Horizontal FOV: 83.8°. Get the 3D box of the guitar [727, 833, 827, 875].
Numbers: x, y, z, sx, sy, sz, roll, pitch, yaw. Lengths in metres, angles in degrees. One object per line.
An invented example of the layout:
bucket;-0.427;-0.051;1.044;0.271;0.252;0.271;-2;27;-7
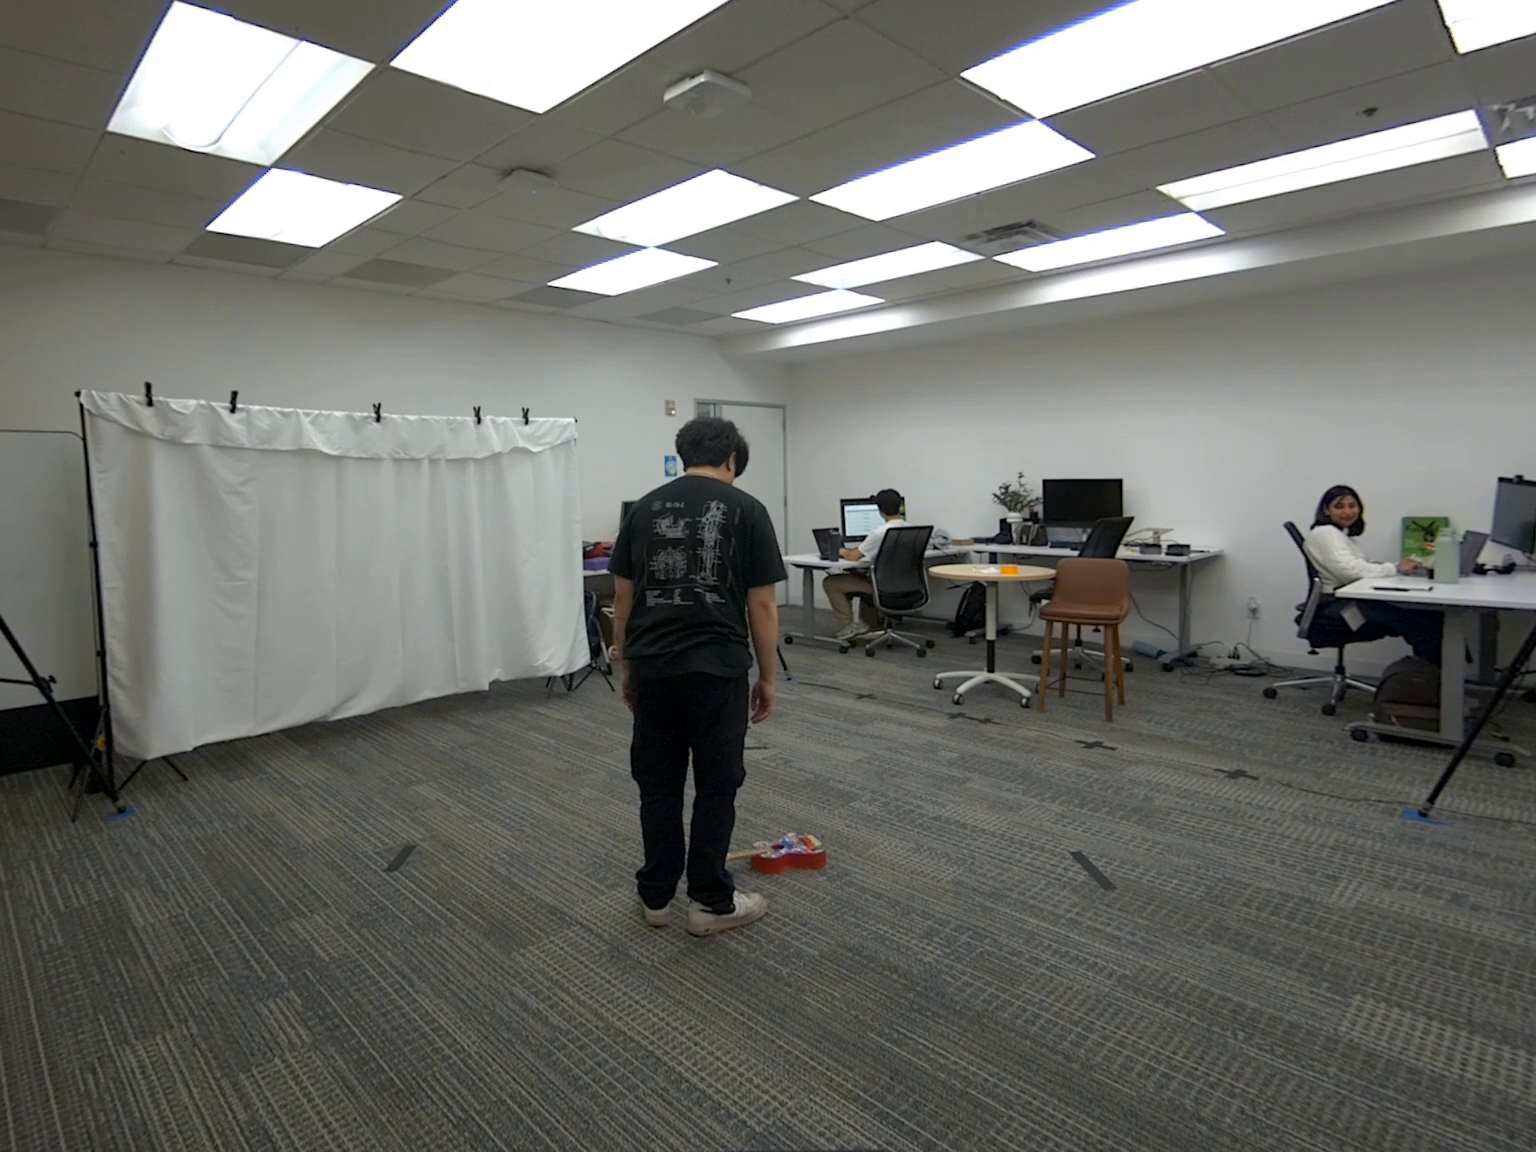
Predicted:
guitar;-0.038;1.008;3.097;0.492;0.070;0.196;-2;6;-13
